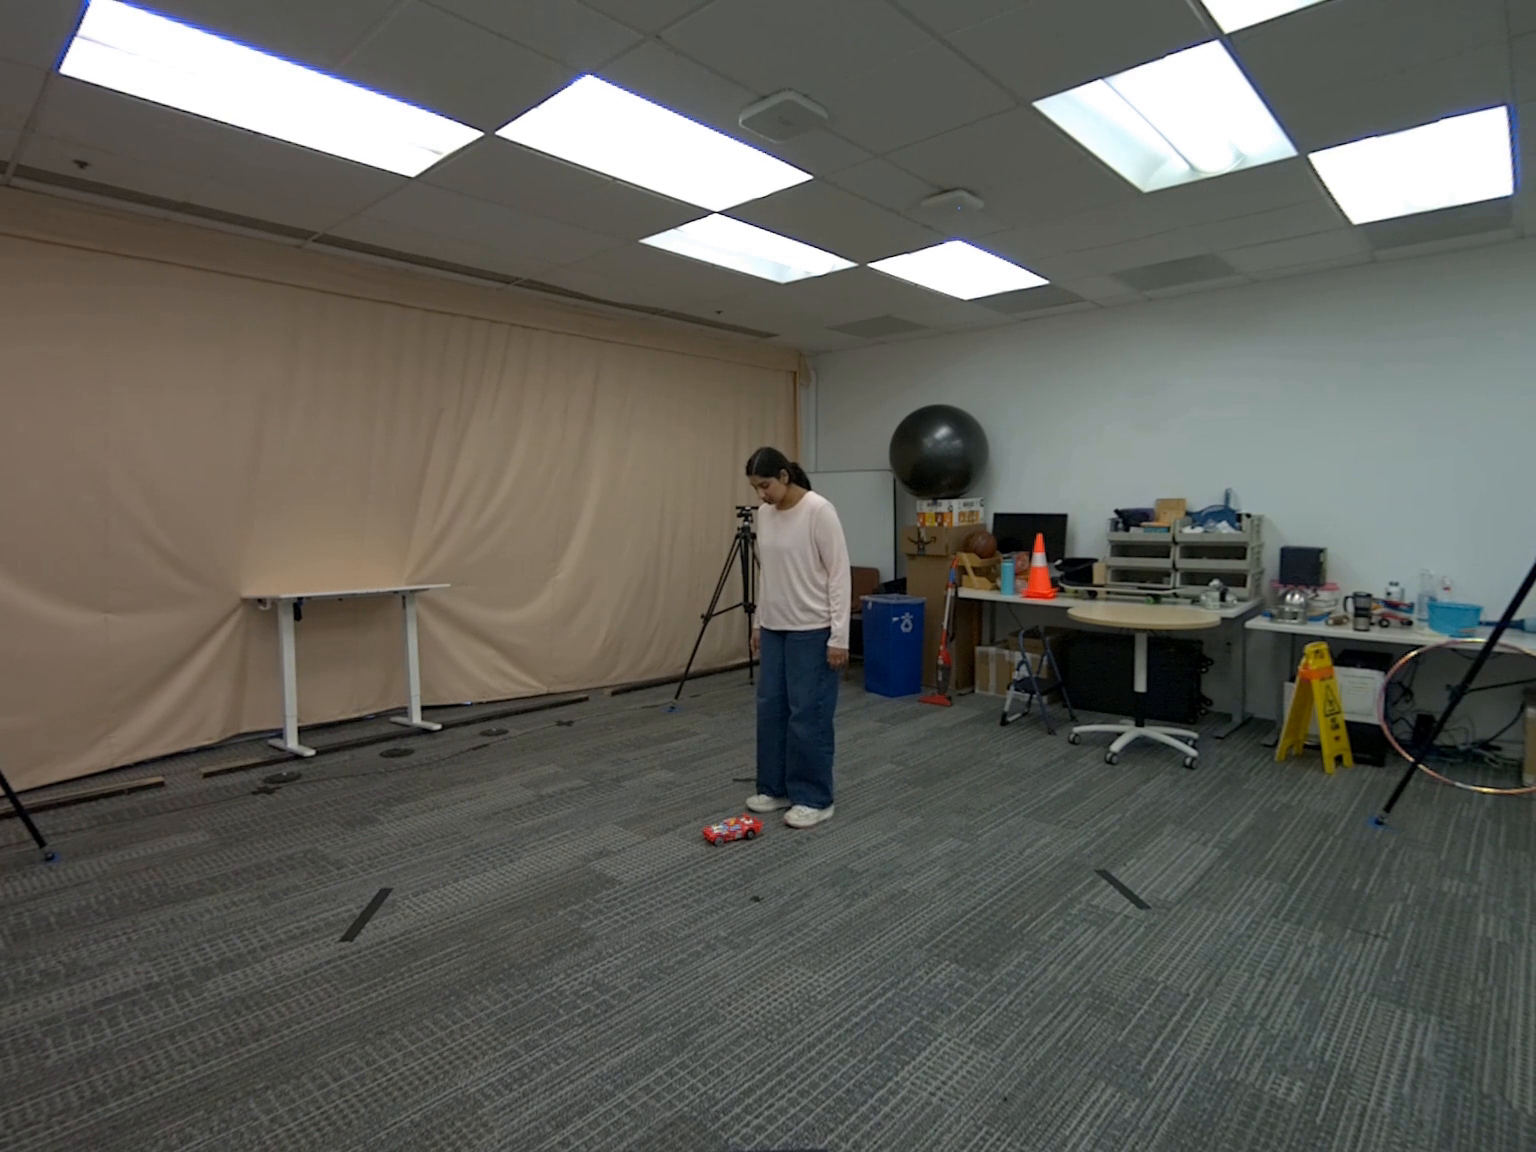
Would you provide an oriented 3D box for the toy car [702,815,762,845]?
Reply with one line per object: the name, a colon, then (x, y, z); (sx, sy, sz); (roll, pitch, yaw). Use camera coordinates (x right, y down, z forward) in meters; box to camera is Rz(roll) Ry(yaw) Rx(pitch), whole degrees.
toy car: (-0.143, 1.067, 3.534); (0.249, 0.083, 0.134); (-15, 9, -25)
